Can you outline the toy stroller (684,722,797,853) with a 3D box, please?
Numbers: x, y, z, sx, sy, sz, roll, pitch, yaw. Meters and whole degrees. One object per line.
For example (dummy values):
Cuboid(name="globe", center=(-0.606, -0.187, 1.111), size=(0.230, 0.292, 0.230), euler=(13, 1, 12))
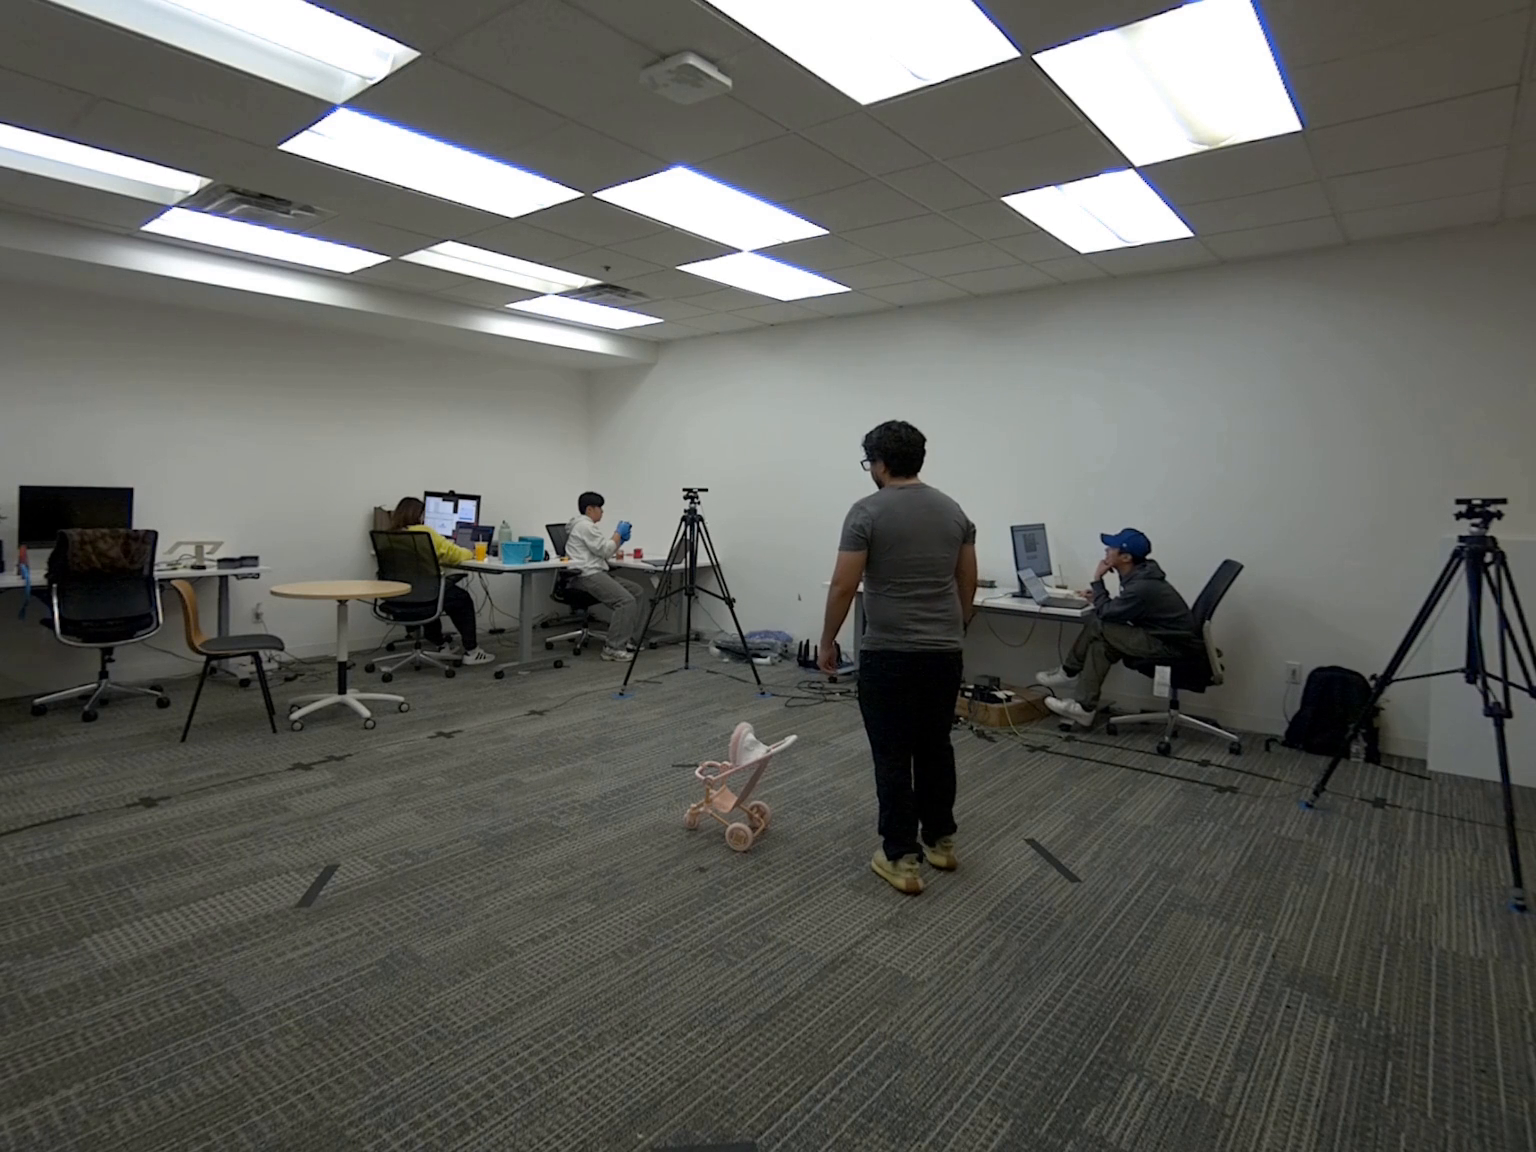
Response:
Cuboid(name="toy stroller", center=(-0.139, 0.823, 3.409), size=(0.351, 0.532, 0.275), euler=(21, 10, 22))
